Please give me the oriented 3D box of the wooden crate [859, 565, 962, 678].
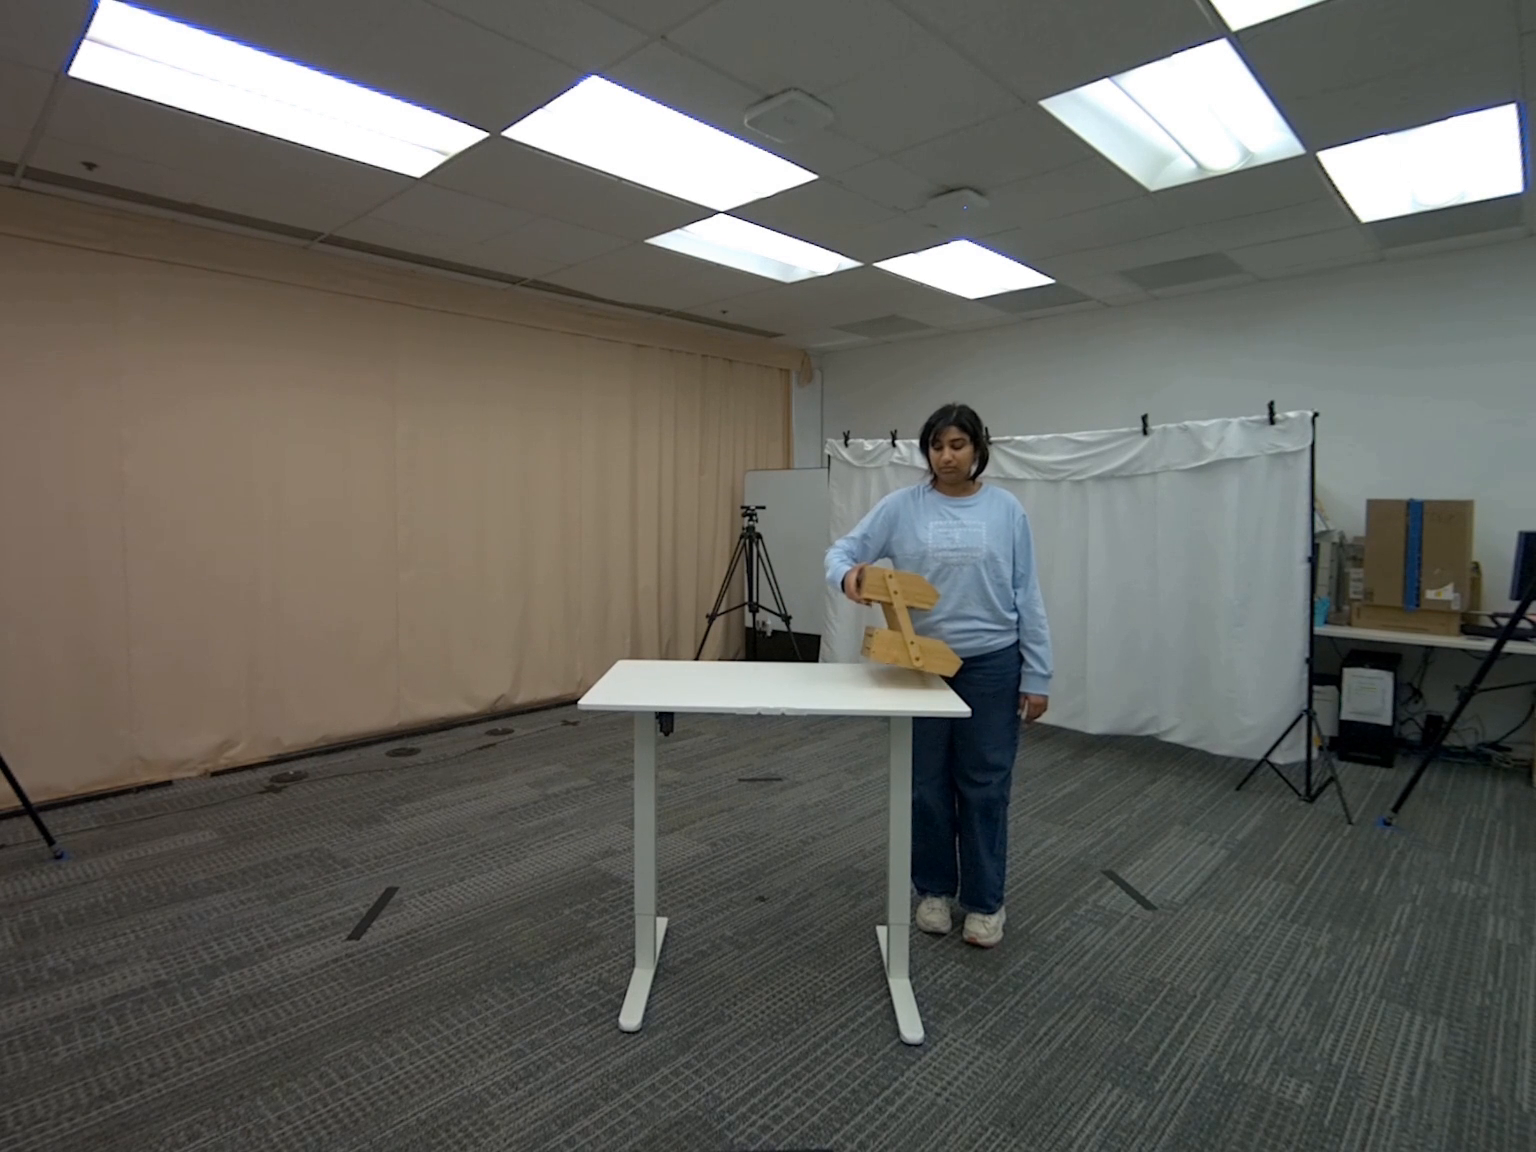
[{"bbox_3d":[0.419,0.135,2.465,0.304,0.274,0.322,9,-3,5],"label":"wooden crate"}]
